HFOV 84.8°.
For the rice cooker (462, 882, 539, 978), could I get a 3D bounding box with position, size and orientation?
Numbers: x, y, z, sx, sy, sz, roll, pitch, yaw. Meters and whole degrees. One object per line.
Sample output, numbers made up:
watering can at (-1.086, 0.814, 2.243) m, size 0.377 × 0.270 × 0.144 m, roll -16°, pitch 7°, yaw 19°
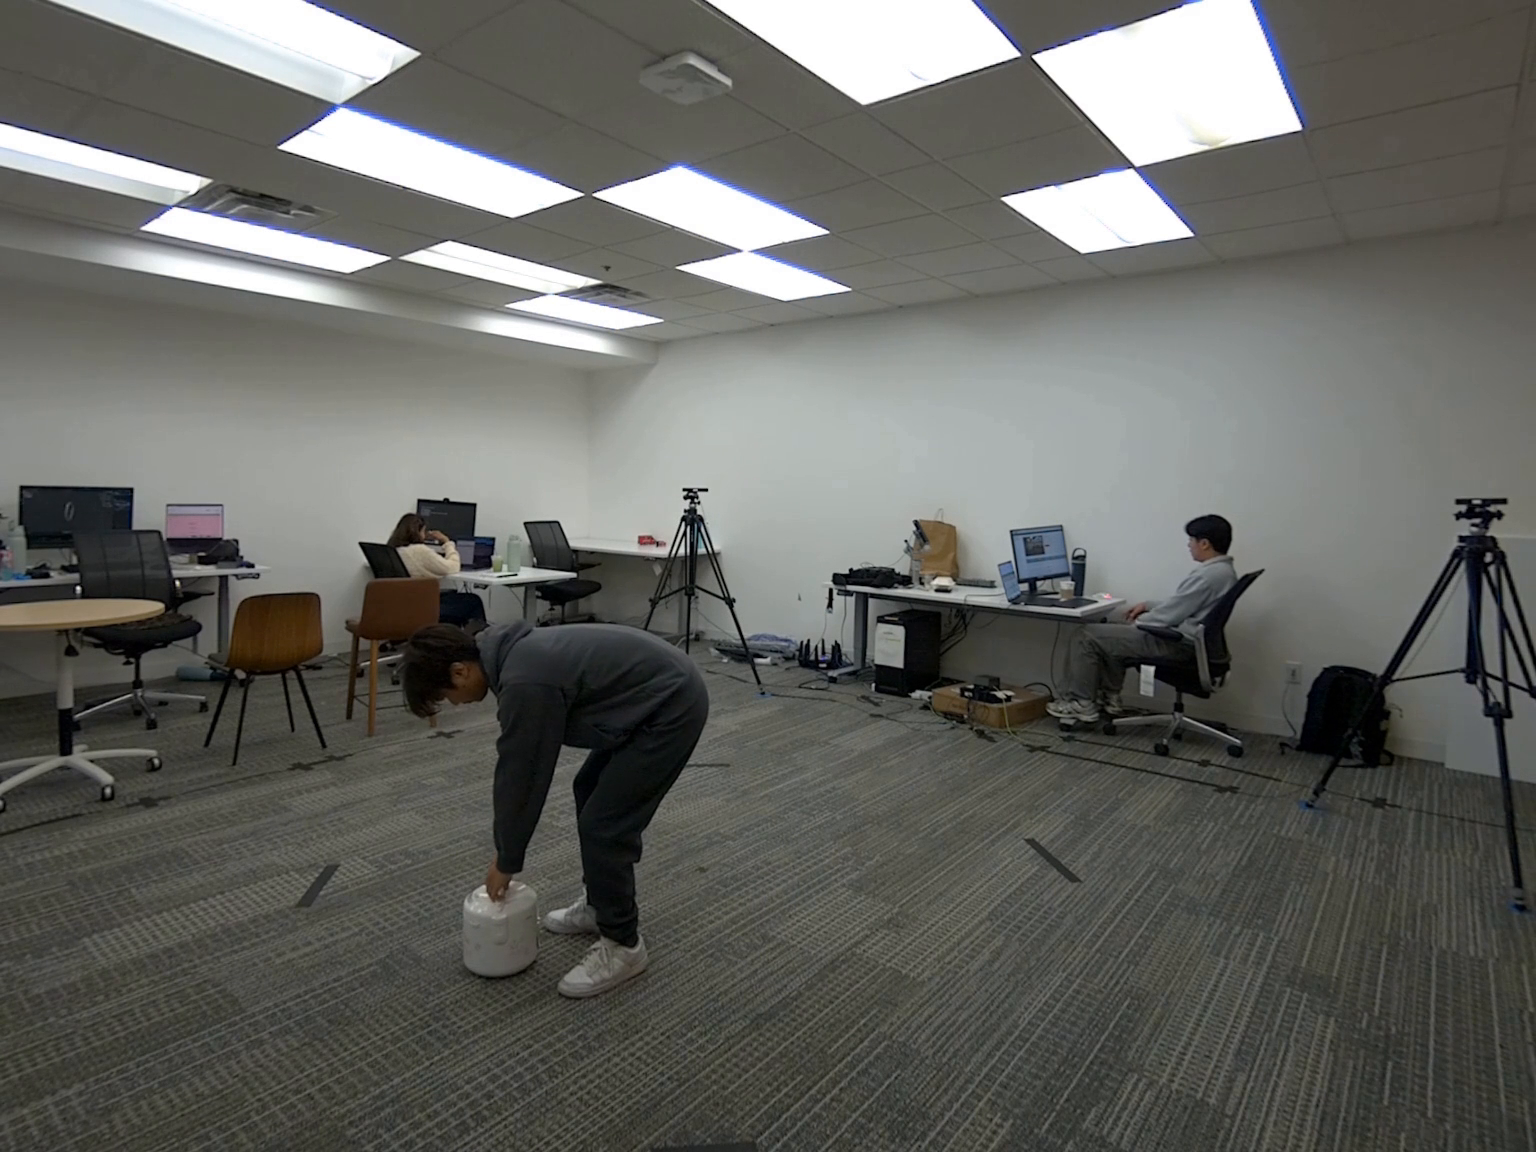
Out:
rice cooker at (-0.782, 1.010, 2.479) m, size 0.215 × 0.232 × 0.224 m, roll 0°, pitch 4°, yaw -13°
